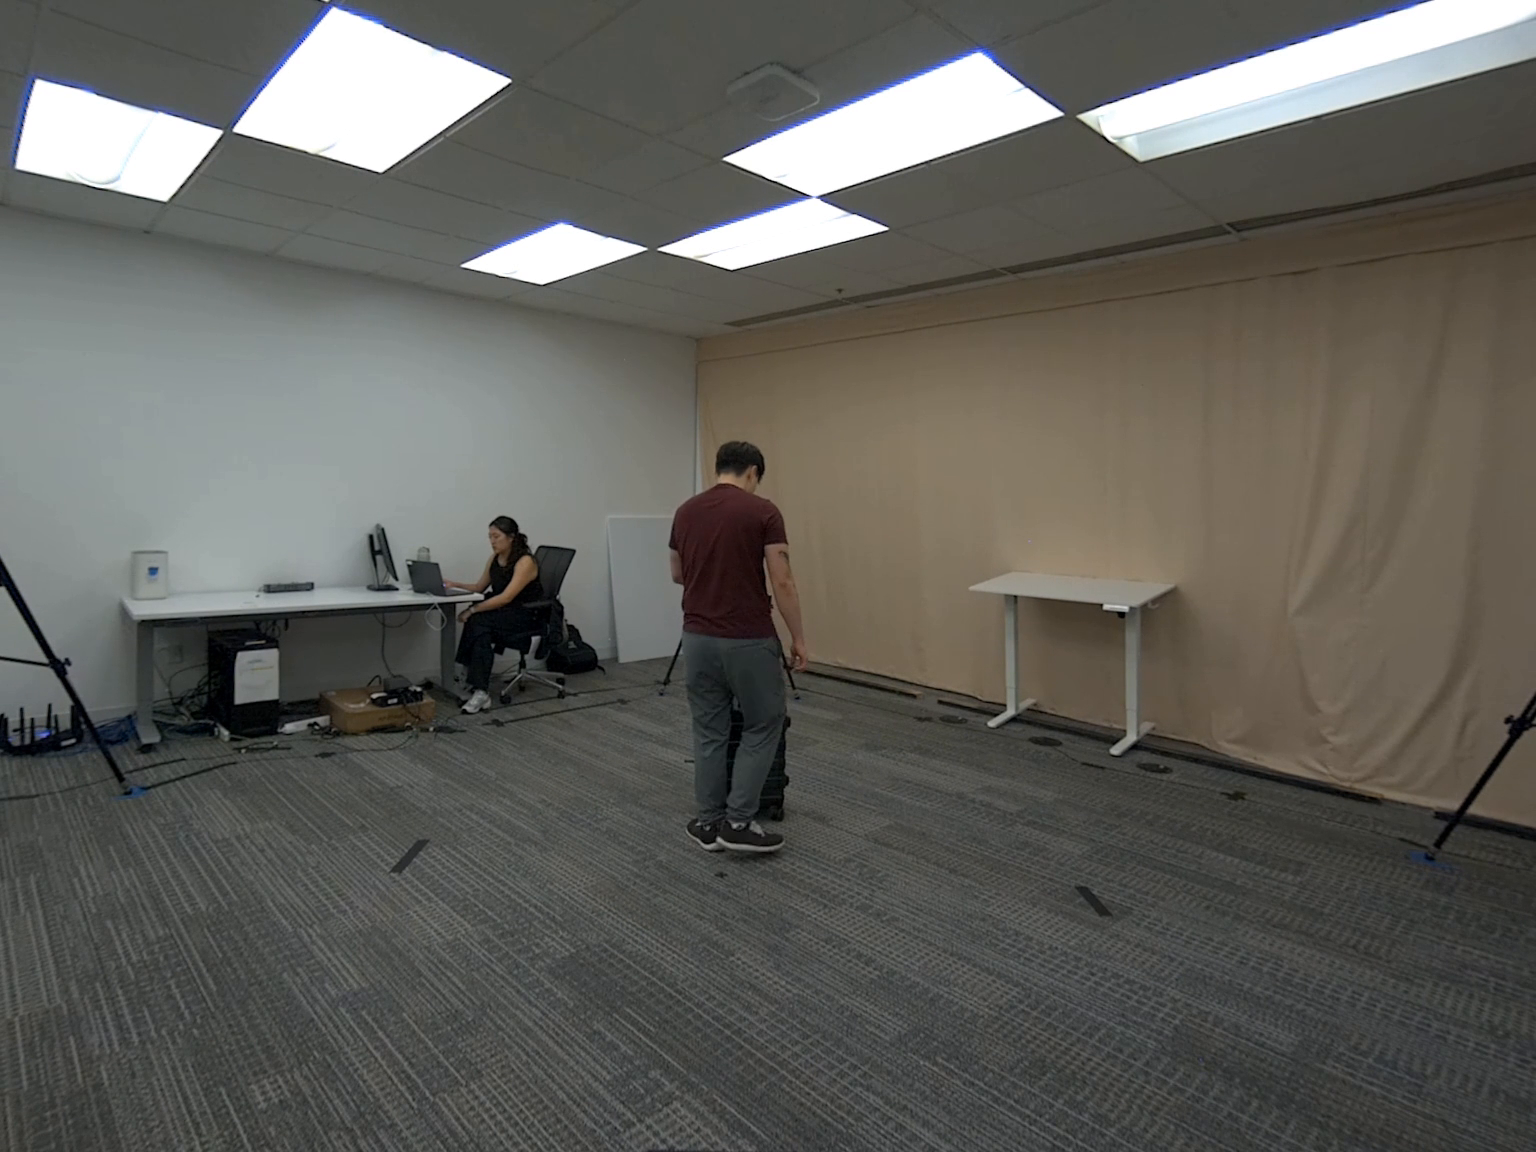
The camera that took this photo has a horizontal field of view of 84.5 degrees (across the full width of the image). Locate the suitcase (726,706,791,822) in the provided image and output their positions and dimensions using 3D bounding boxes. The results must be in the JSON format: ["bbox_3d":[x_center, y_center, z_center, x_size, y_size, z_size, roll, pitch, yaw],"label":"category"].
[{"bbox_3d":[-0.105,0.576,3.744,0.381,0.979,0.259,2,0,-8],"label":"suitcase"}]
